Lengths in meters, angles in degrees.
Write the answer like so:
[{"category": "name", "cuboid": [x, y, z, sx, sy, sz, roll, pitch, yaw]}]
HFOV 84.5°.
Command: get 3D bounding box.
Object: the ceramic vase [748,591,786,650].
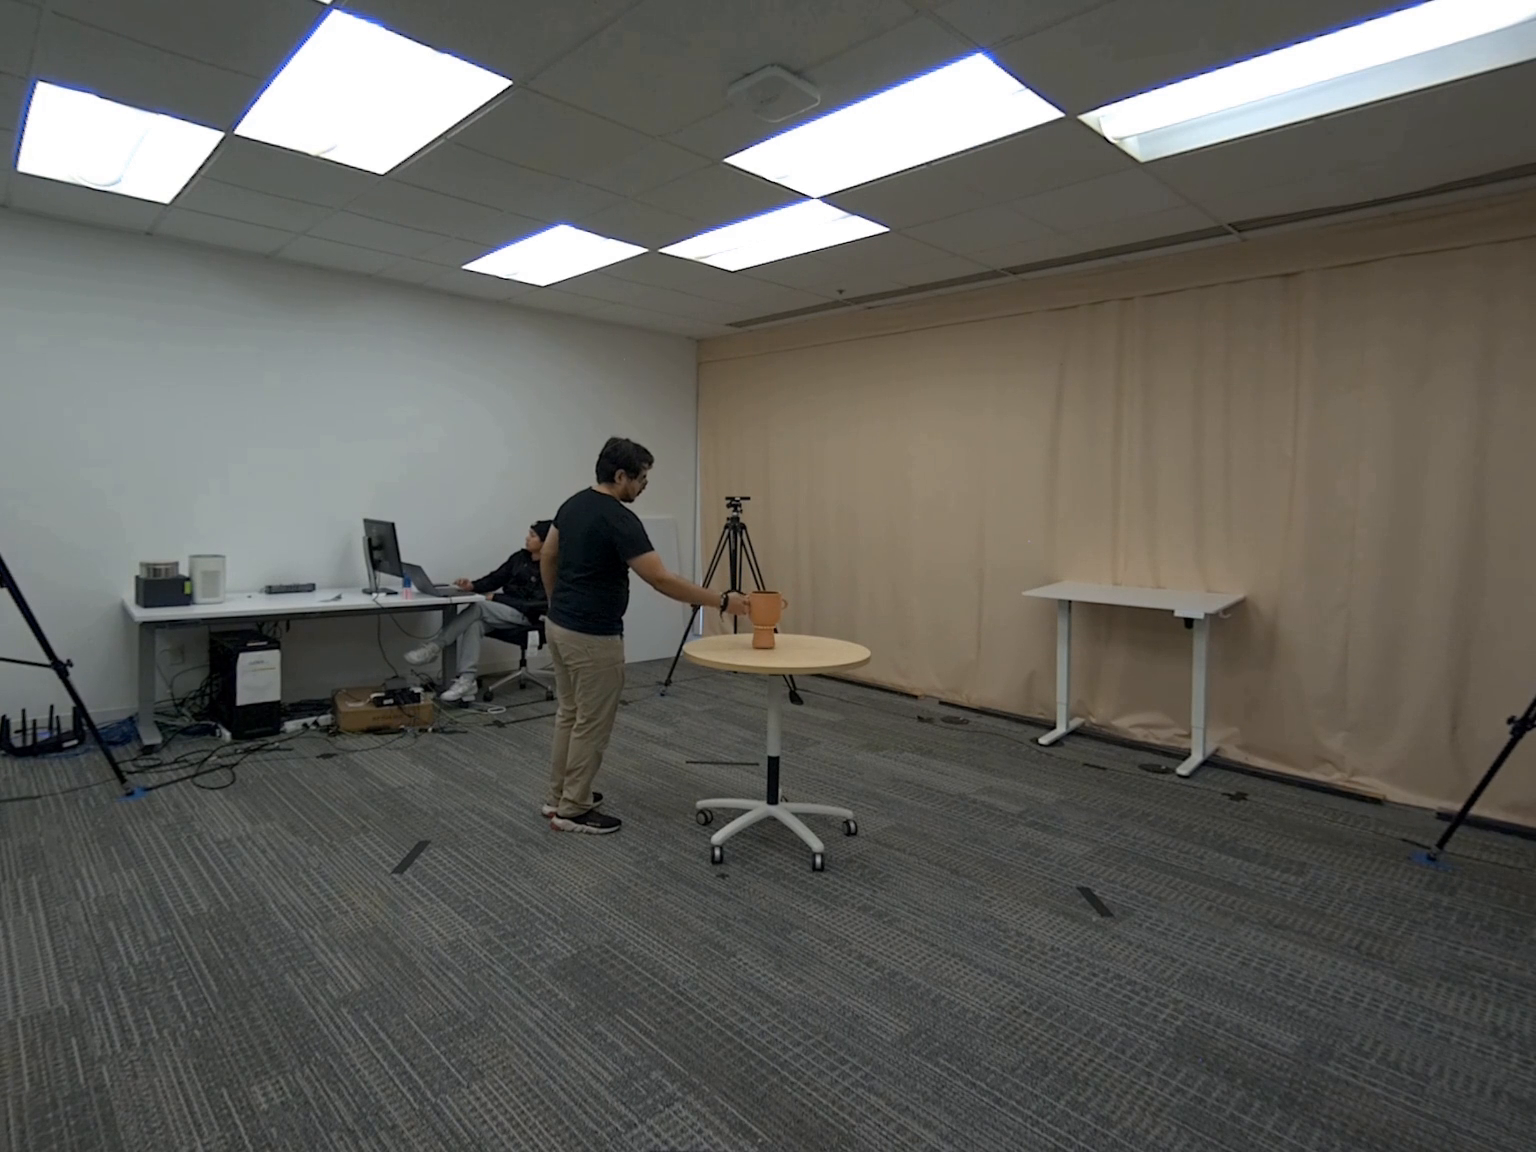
[{"category": "ceramic vase", "cuboid": [-0.023, 0.174, 3.439, 0.162, 0.218, 0.132, 6, 9, 31]}]
